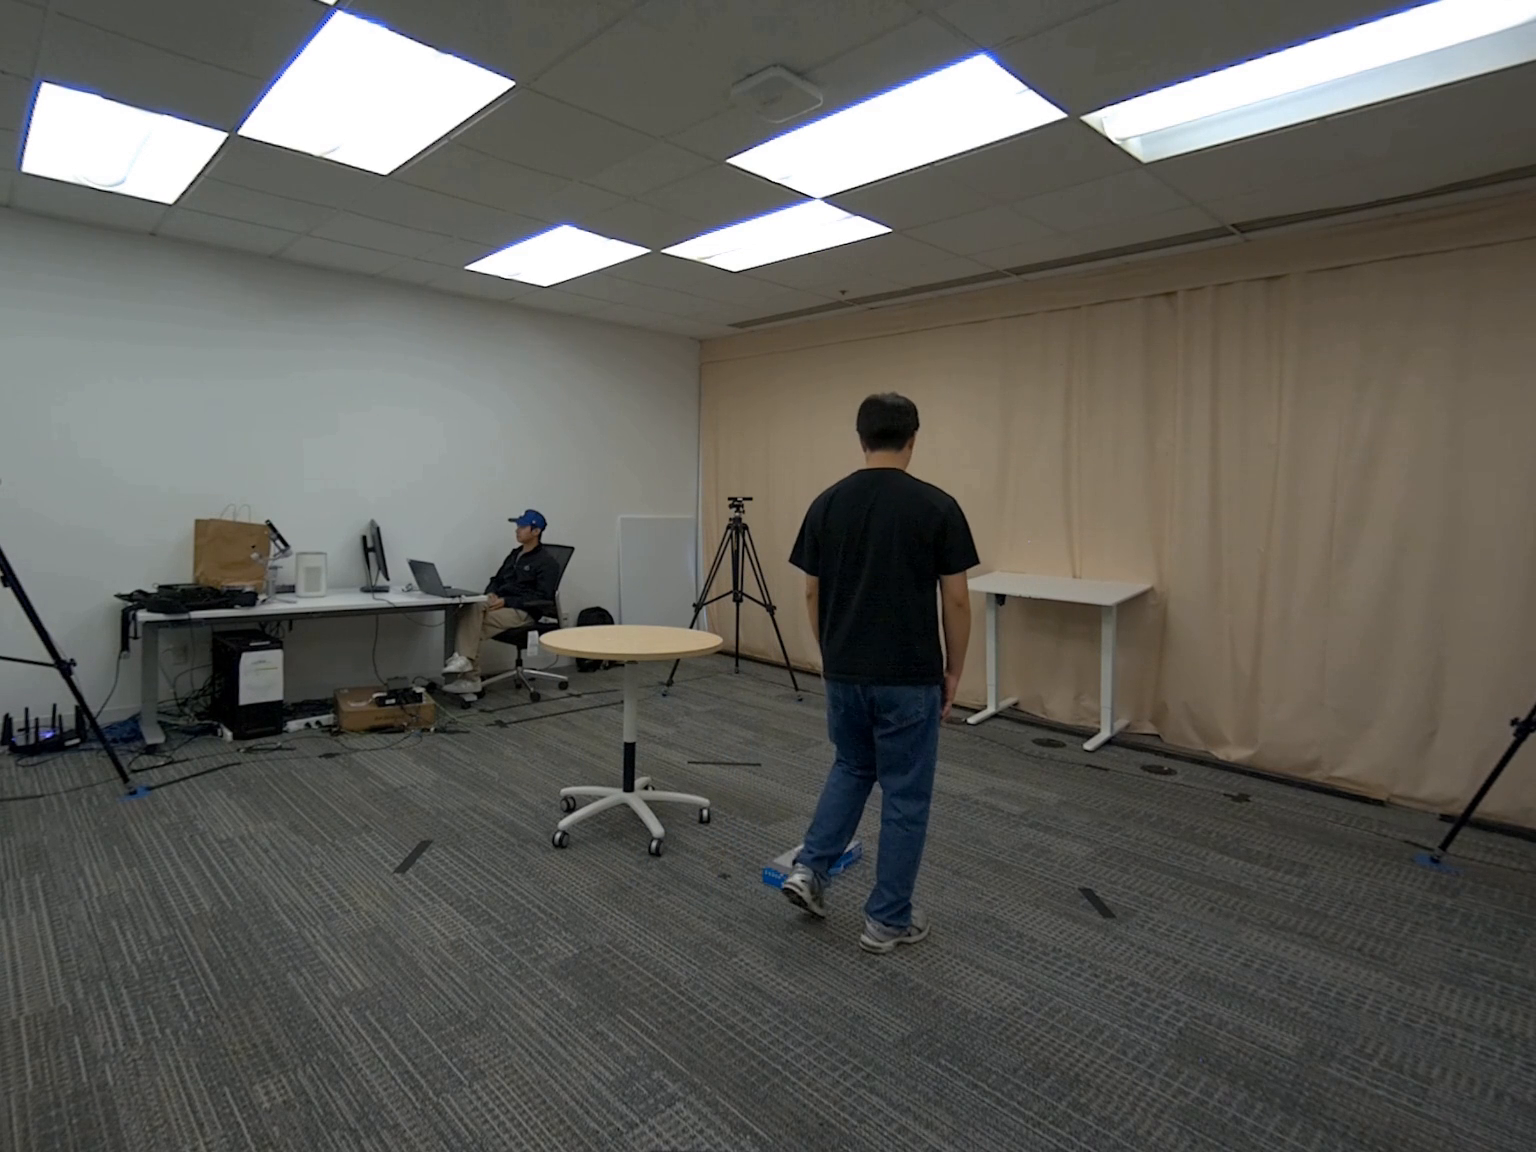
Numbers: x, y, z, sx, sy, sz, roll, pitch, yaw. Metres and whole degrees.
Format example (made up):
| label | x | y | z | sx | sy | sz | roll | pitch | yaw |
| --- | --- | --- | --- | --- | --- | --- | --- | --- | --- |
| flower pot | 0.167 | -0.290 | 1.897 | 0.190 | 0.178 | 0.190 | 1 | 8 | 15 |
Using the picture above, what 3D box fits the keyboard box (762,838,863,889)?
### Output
| label | x | y | z | sx | sy | sz | roll | pitch | yaw |
| --- | --- | --- | --- | --- | --- | --- | --- | --- | --- |
| keyboard box | 0.166 | 1.080 | 3.183 | 0.180 | 0.059 | 0.427 | 3 | 5 | 36 |
